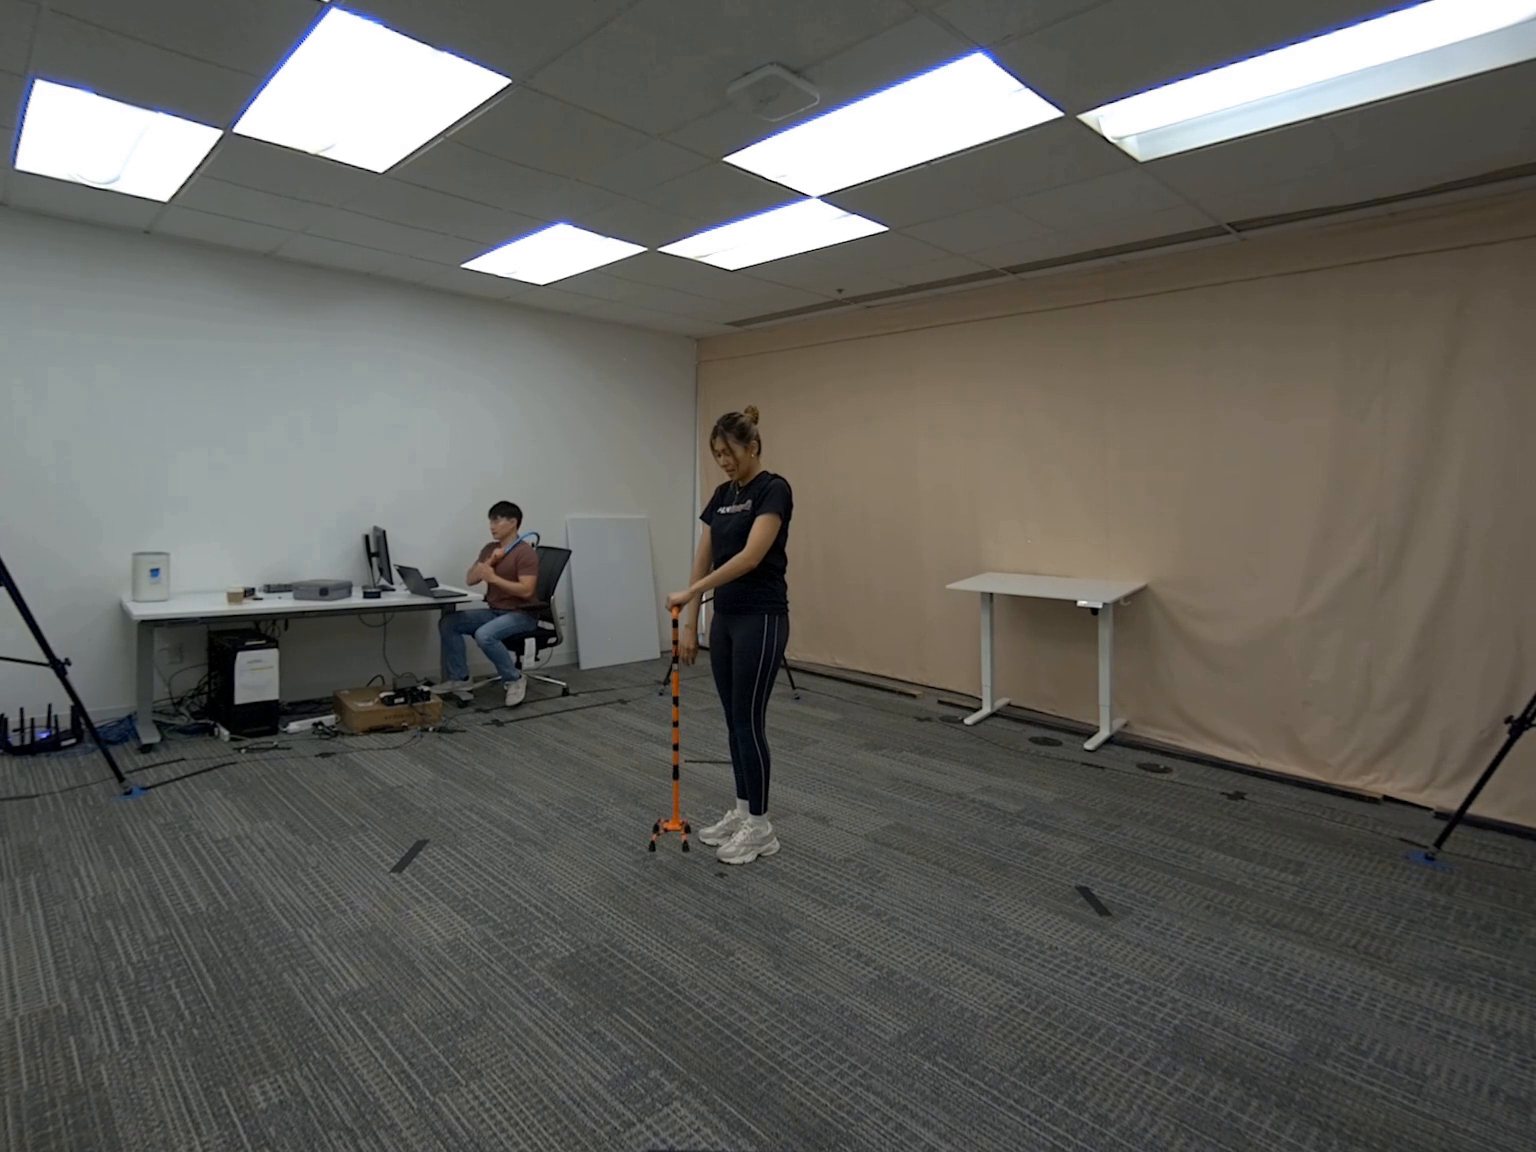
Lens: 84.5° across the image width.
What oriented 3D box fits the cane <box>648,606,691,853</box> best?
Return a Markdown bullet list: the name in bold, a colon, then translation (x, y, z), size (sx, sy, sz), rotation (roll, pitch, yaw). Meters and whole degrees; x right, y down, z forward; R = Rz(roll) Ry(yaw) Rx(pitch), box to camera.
- **cane**: translation (-0.371, 0.557, 3.153), size (0.151, 0.906, 0.207), rotation (1, 3, -3)
